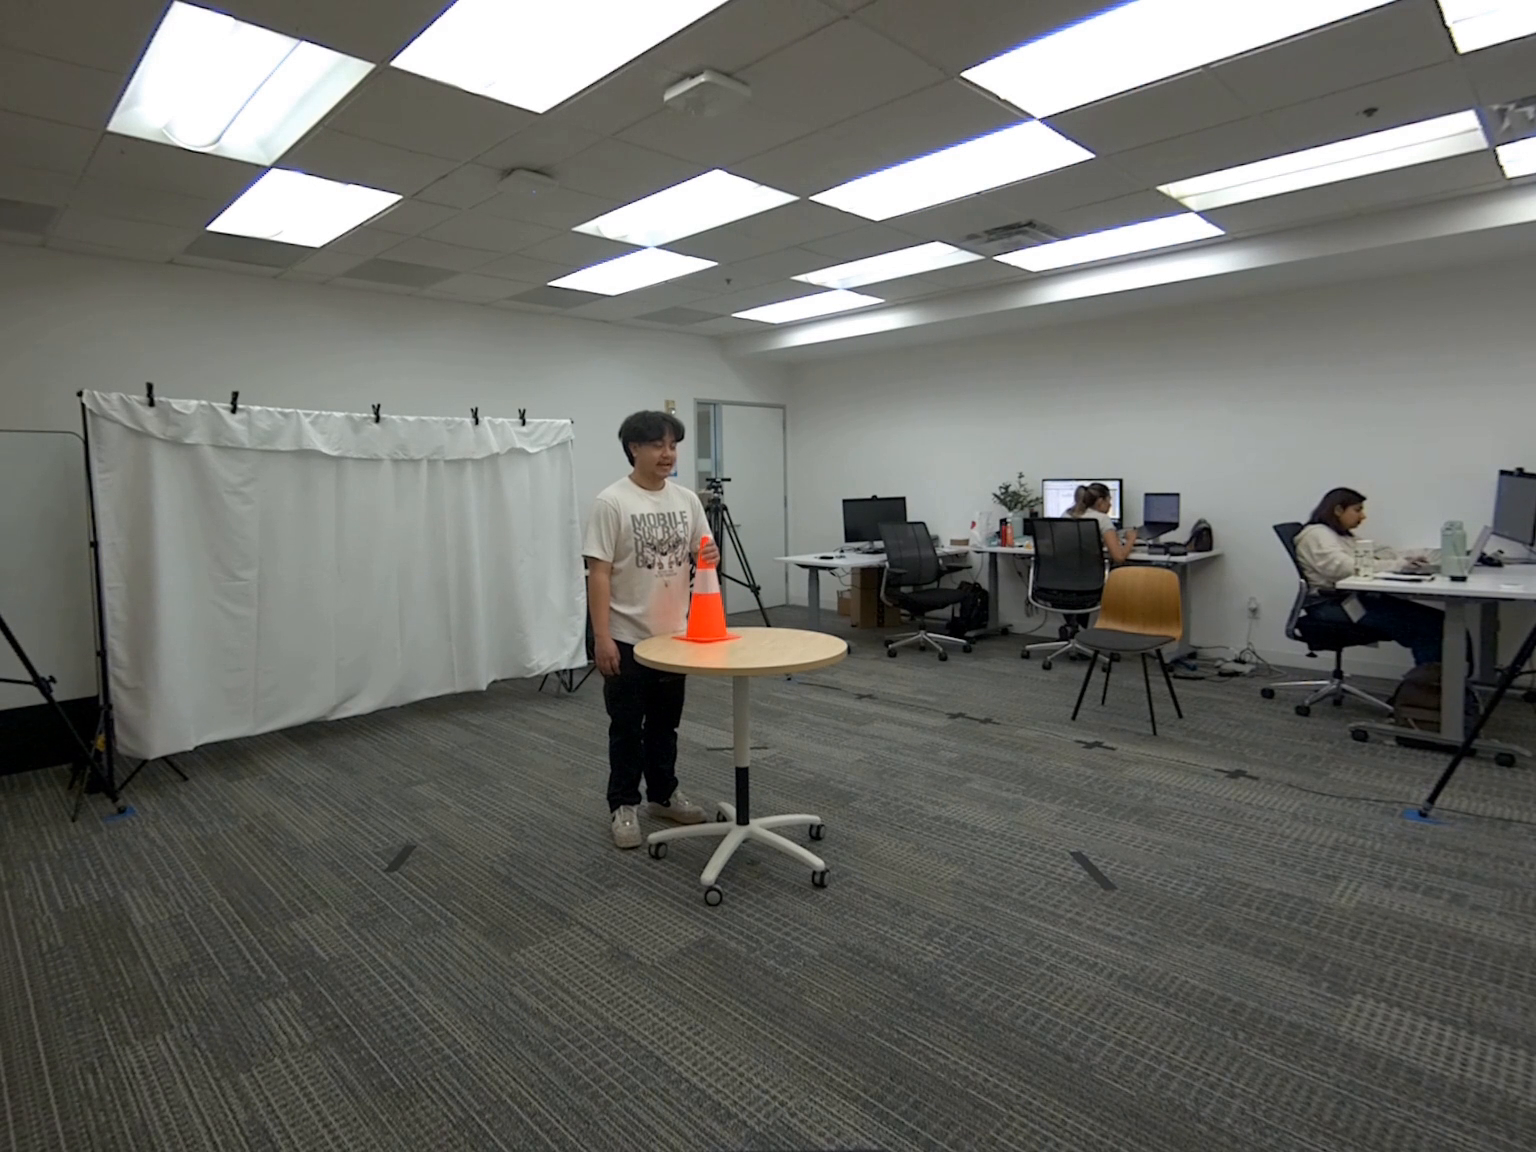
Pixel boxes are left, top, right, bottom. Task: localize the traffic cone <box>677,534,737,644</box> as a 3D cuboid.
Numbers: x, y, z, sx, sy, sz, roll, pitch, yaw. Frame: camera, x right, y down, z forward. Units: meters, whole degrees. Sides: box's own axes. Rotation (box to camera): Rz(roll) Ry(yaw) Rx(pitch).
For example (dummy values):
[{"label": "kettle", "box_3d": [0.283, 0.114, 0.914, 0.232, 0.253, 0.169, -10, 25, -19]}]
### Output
[{"label": "traffic cone", "box_3d": [-0.241, 0.040, 3.234, 0.207, 0.383, 0.201, -2, 1, 21]}]
